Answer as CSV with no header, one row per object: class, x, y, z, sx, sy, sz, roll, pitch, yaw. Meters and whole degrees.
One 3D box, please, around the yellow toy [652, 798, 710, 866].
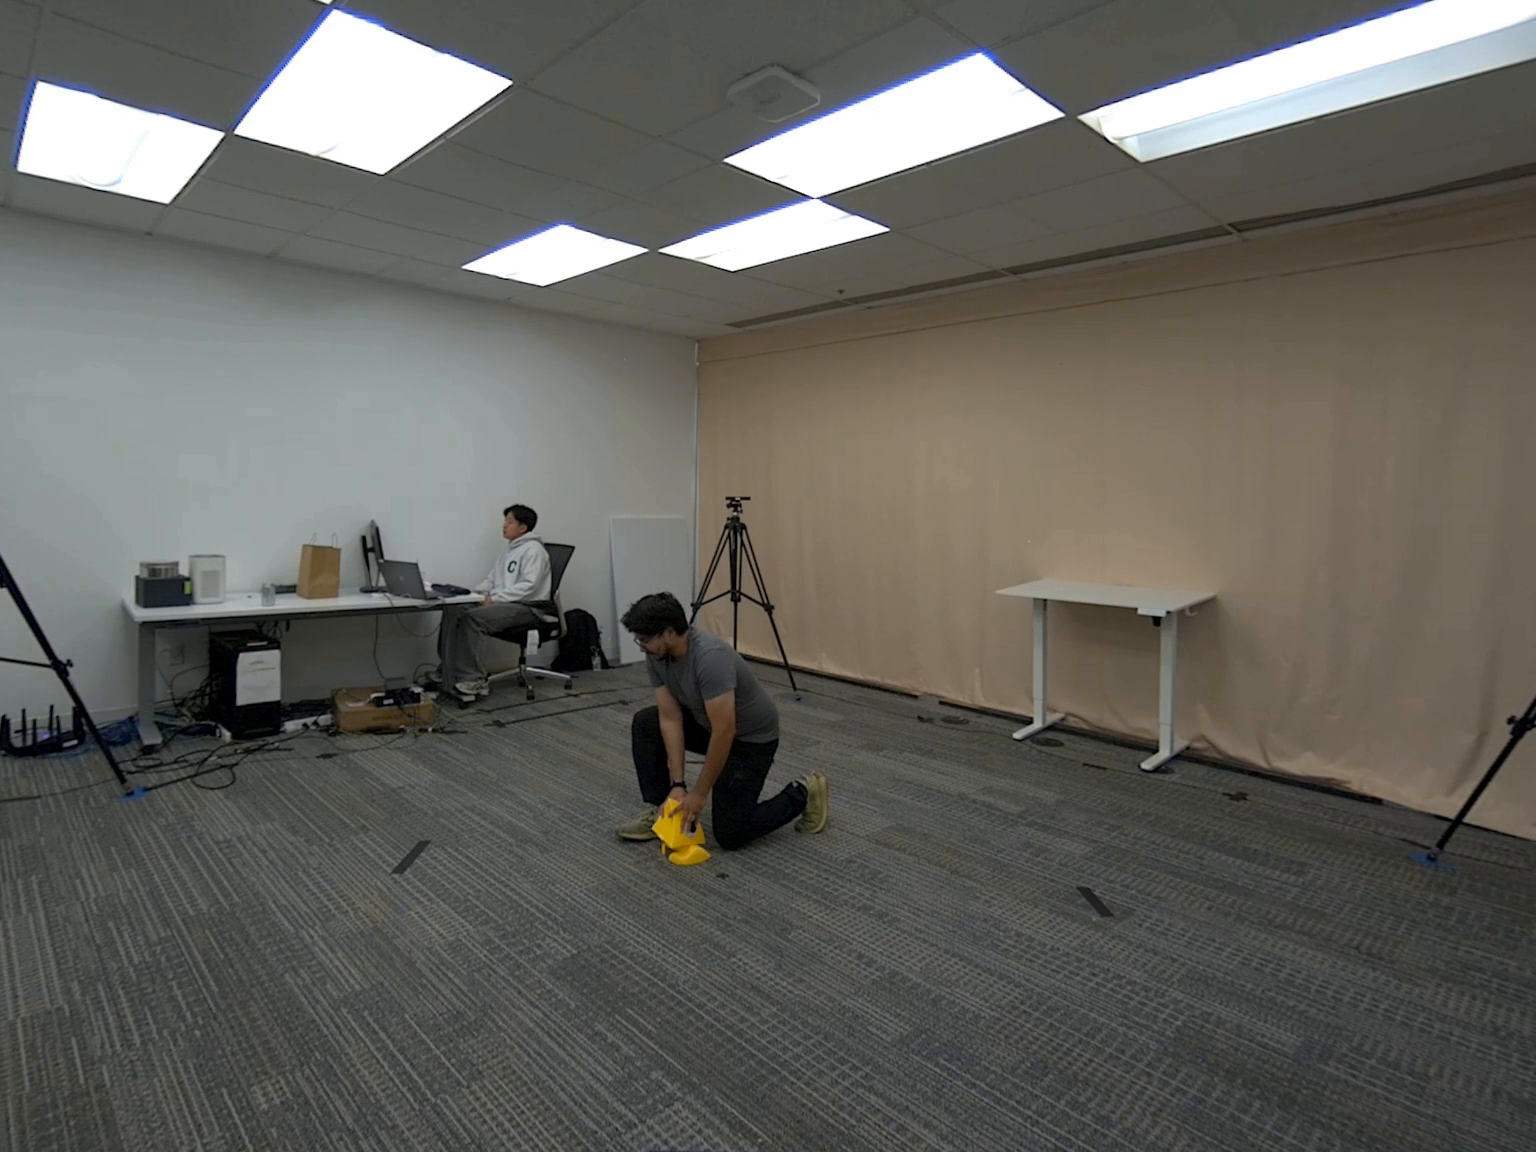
yellow toy,-0.338,0.974,3.285,0.189,0.230,0.209,-1,3,-28
